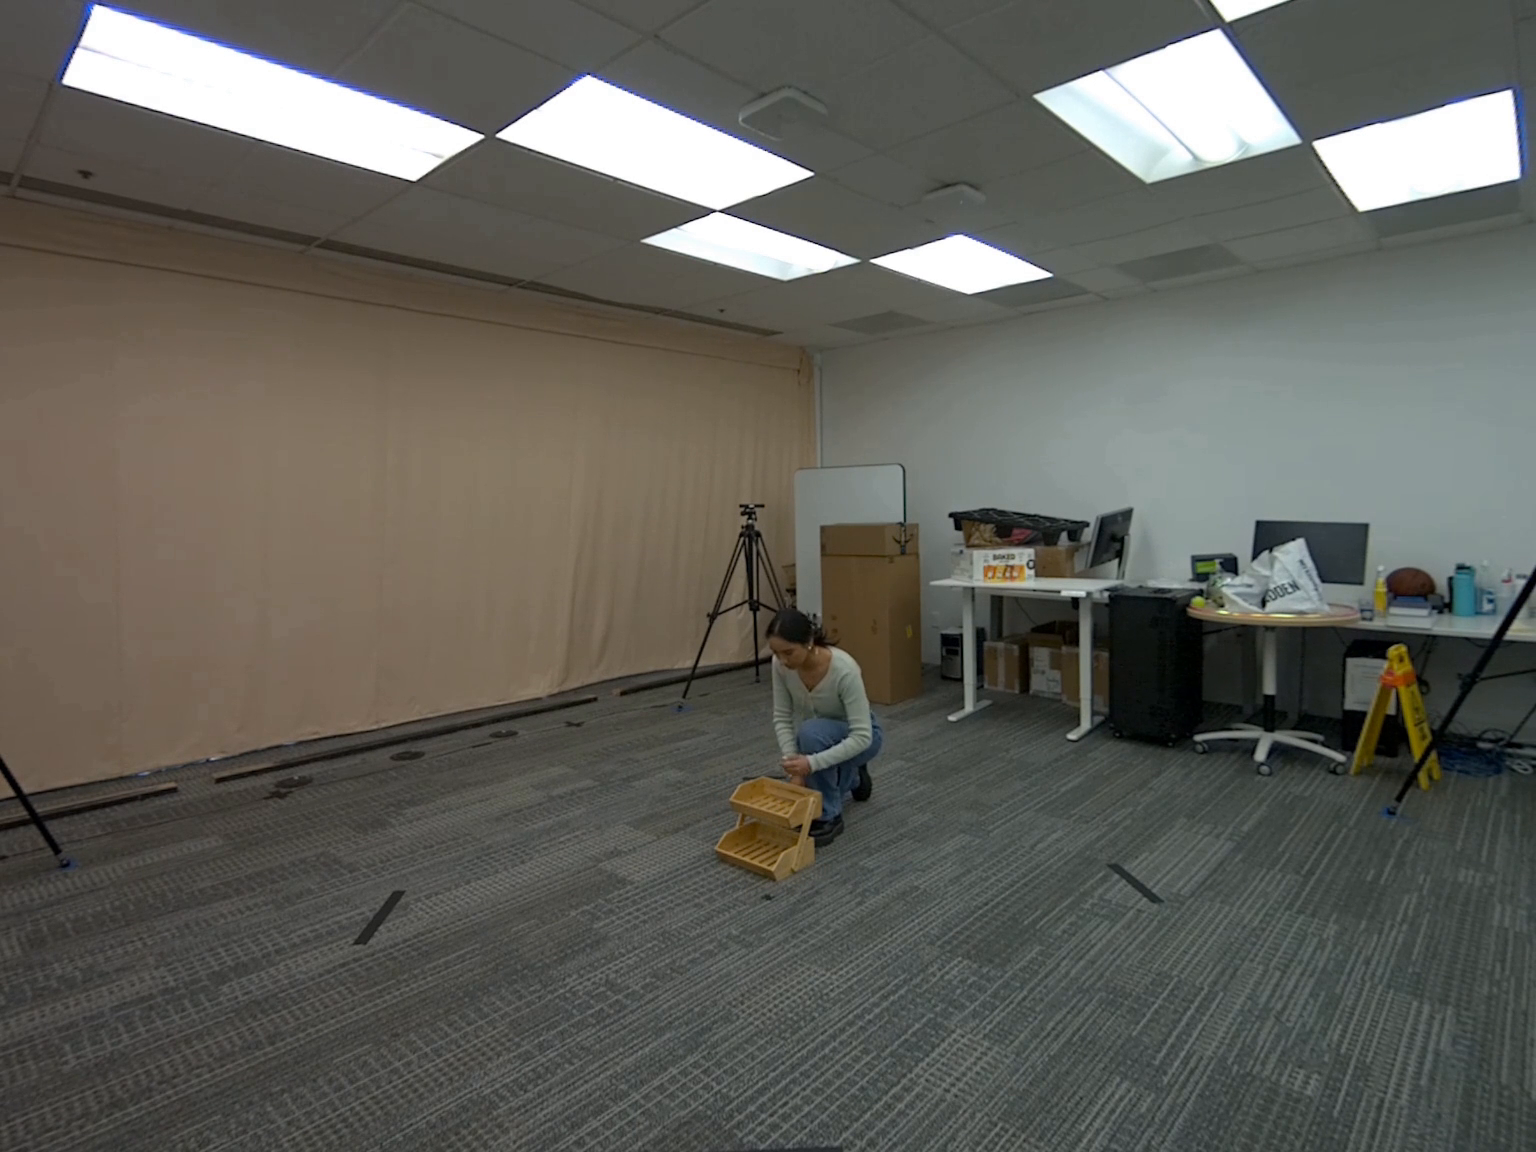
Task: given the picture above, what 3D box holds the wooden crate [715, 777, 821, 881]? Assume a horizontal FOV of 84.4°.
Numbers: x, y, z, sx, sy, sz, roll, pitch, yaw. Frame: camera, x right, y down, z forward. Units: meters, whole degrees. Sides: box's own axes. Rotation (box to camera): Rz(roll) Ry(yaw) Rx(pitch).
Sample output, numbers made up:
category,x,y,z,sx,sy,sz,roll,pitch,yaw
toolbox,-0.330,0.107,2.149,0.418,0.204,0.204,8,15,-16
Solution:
category,x,y,z,sx,sy,sz,roll,pitch,yaw
wooden crate,0.000,0.975,3.296,0.335,0.272,0.293,3,6,41
